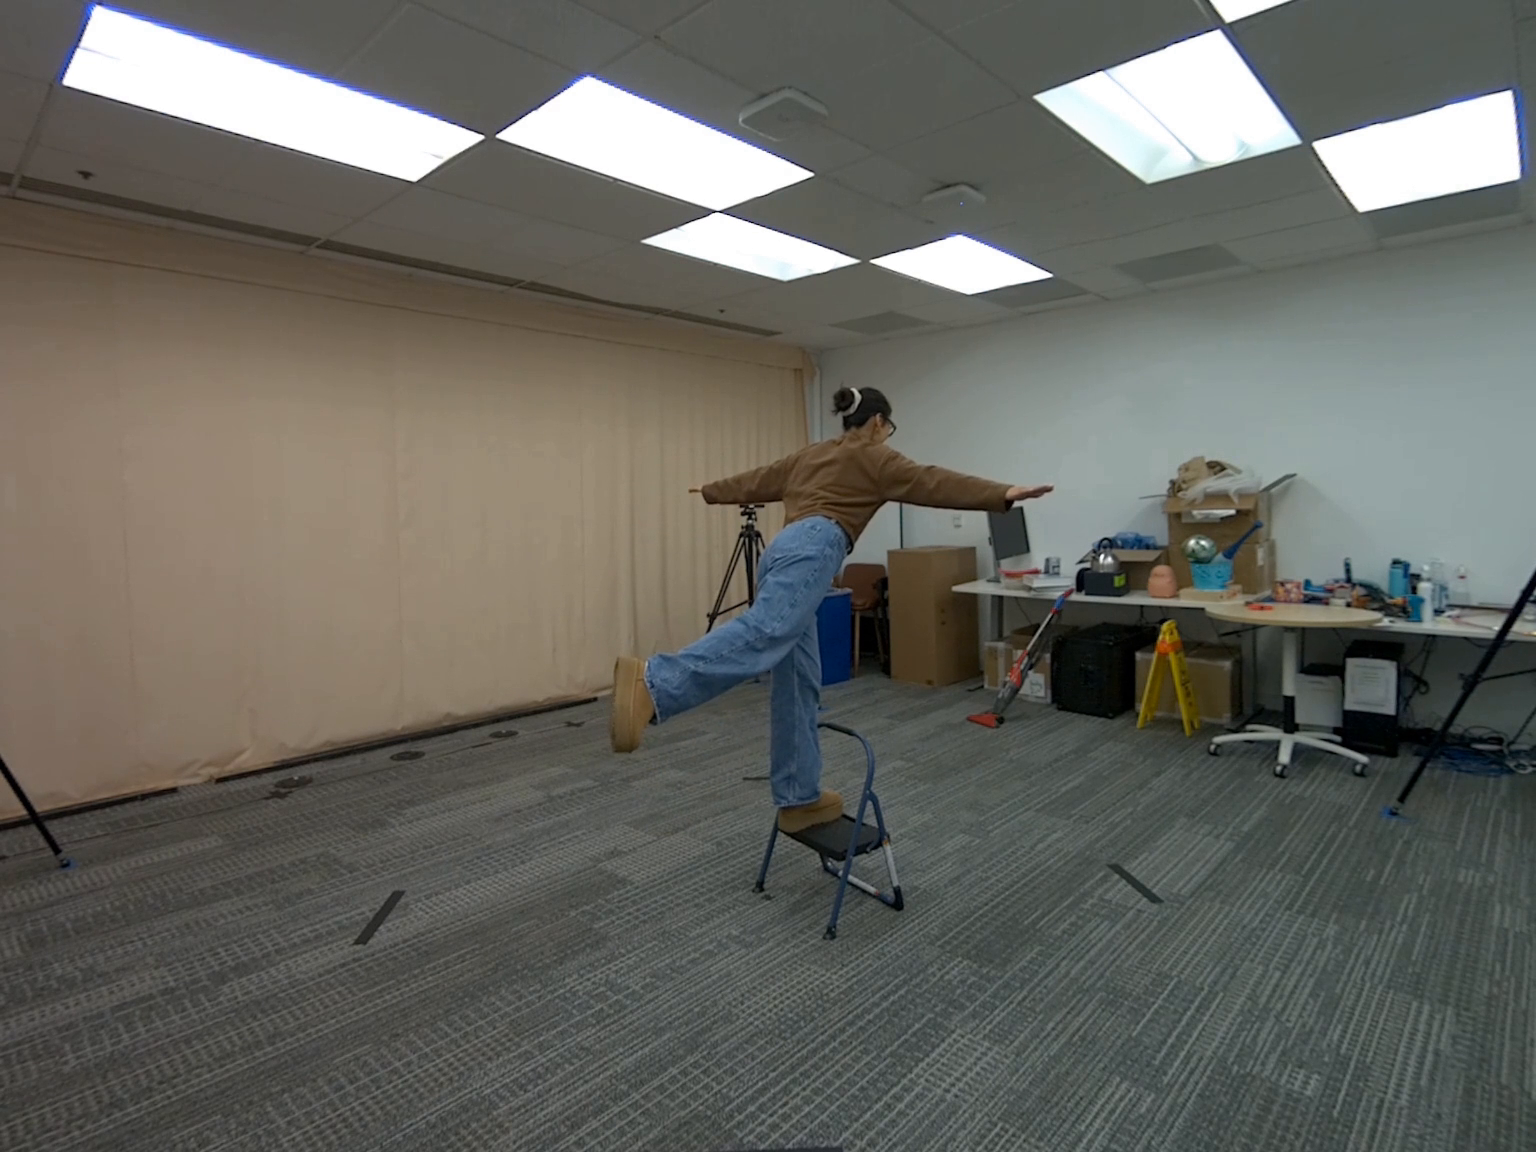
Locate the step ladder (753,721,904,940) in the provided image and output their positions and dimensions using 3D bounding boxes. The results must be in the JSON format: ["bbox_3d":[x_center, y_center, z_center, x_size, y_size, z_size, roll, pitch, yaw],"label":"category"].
[{"bbox_3d":[0.208,0.838,2.938,0.339,0.605,0.444,-3,4,-36],"label":"step ladder"}]
